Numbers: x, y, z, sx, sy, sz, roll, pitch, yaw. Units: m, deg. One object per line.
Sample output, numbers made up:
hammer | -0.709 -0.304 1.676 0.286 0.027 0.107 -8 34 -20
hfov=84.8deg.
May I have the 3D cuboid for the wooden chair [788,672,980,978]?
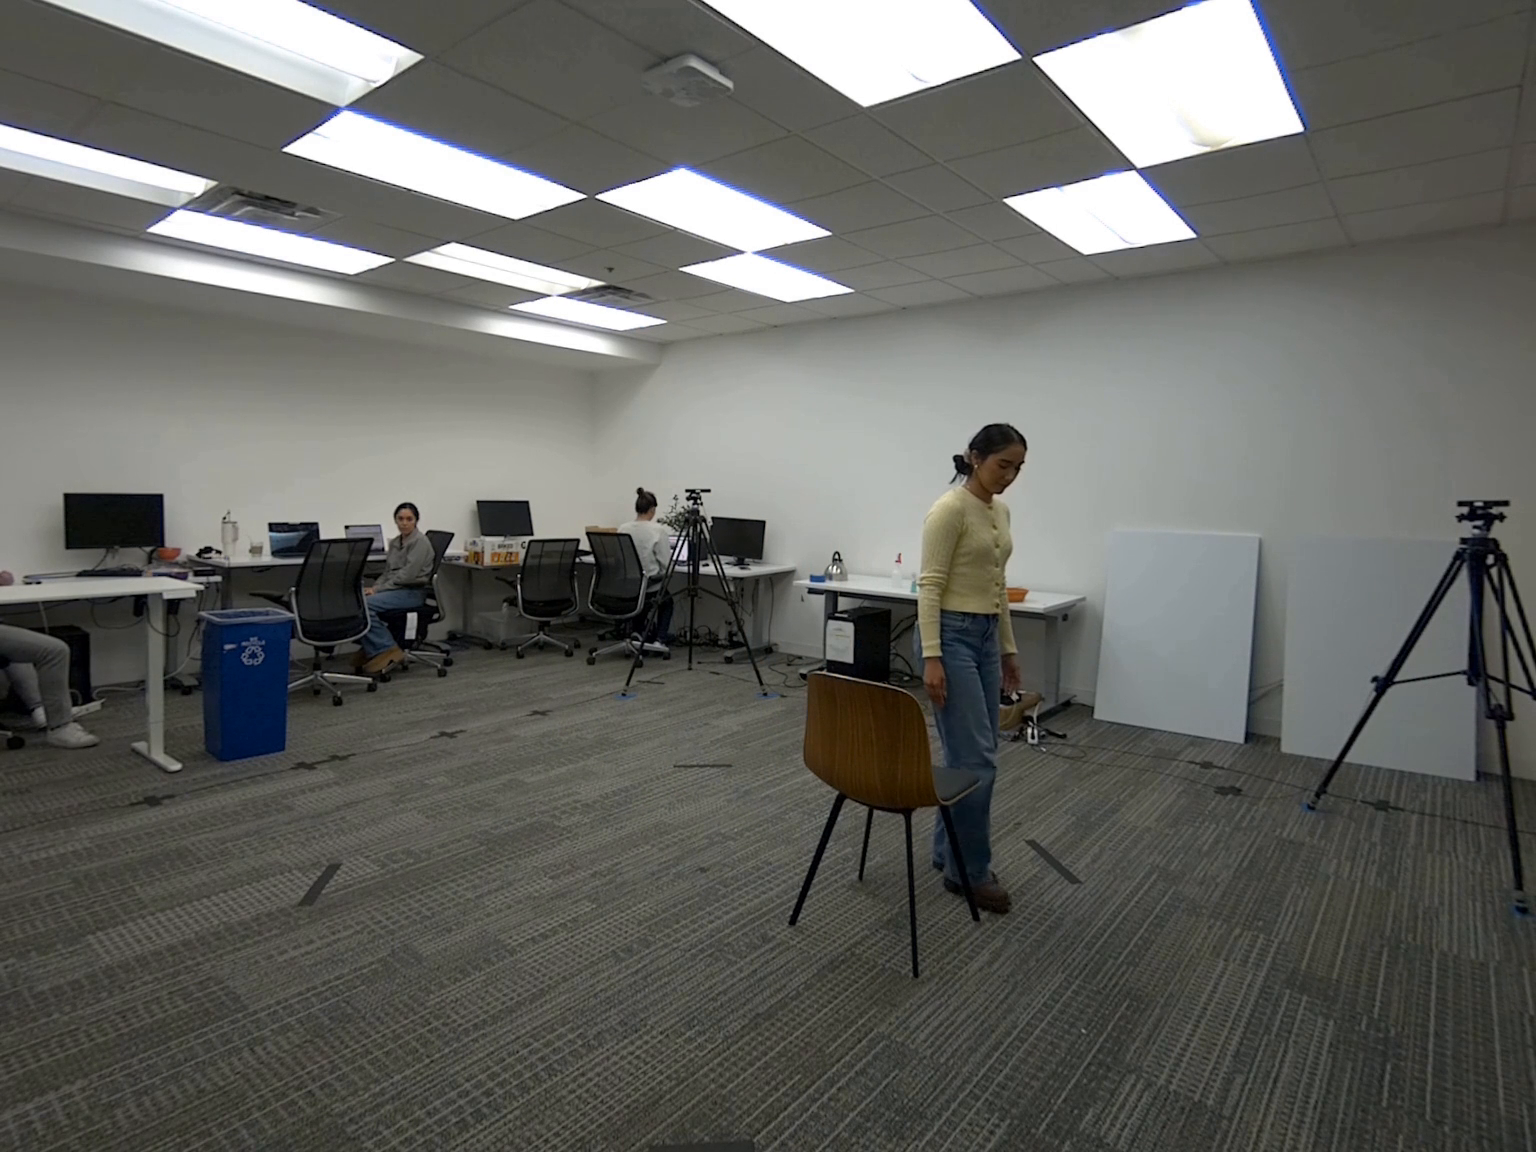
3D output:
wooden chair | 0.385 0.695 2.738 0.494 0.872 0.509 4 8 37
